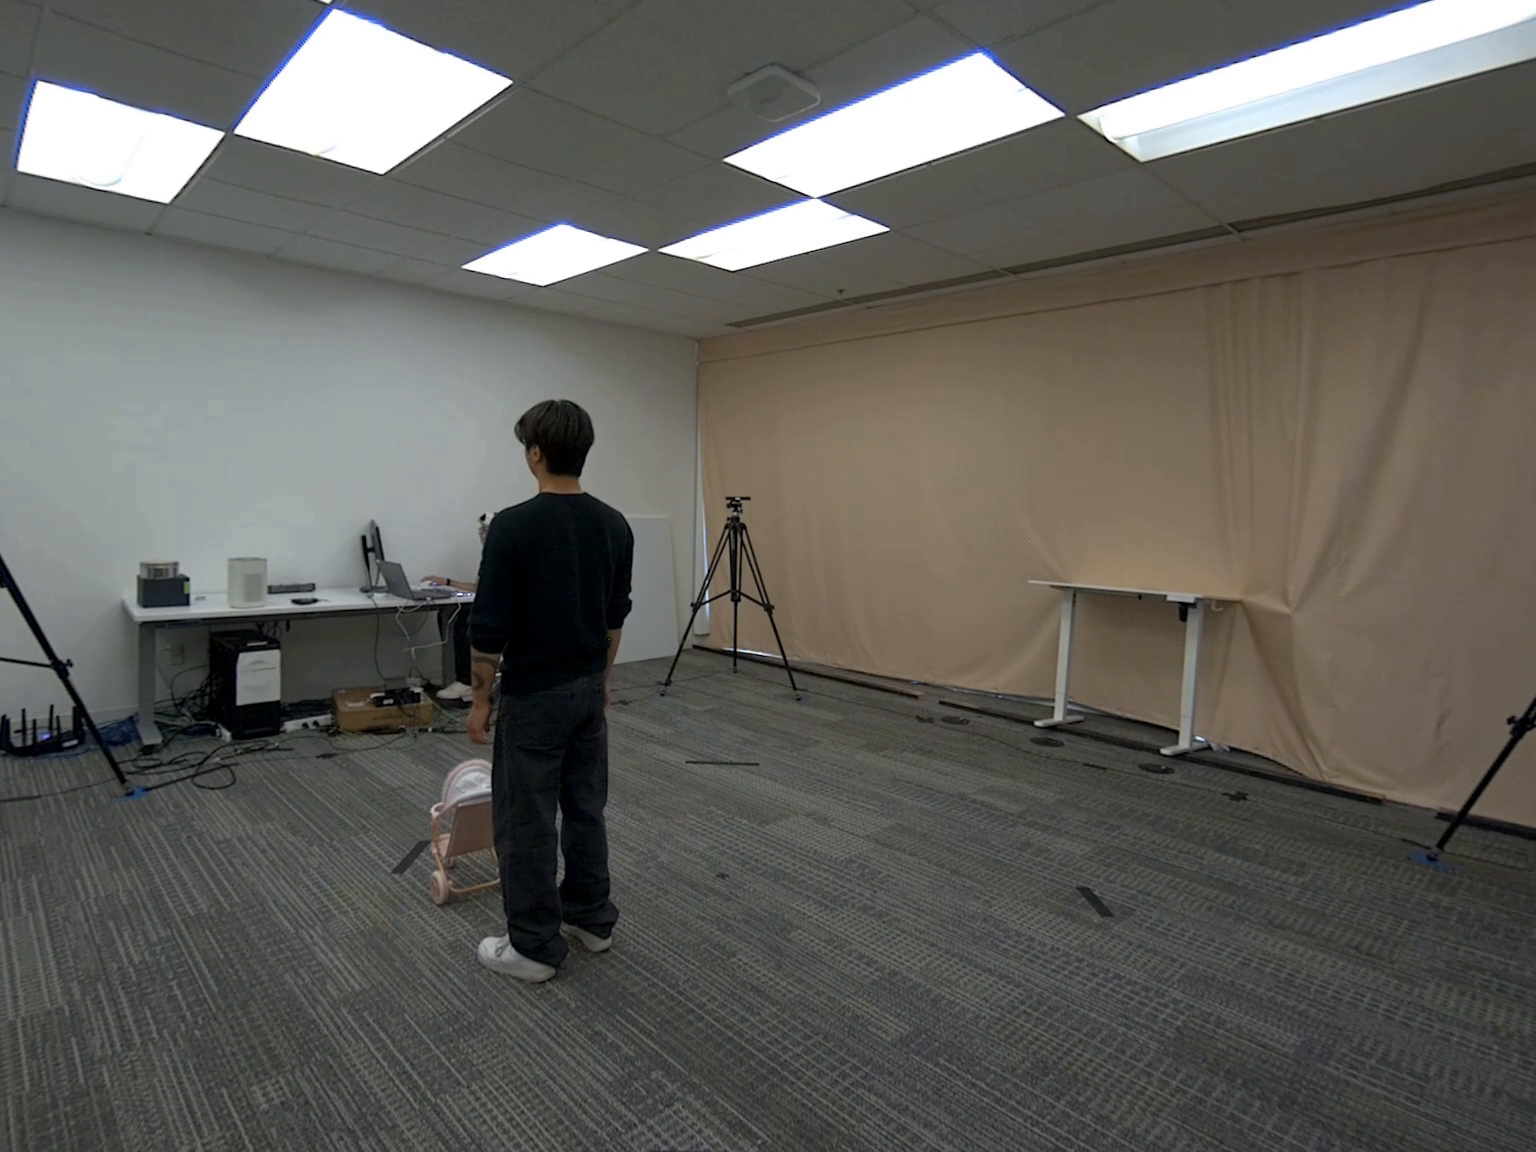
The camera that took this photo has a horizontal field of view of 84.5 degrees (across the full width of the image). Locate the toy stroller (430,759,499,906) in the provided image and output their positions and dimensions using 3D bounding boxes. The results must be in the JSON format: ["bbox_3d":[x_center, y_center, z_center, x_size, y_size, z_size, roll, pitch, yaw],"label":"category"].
[{"bbox_3d":[-1.055,0.879,2.959,0.275,0.529,0.352,-1,23,-33],"label":"toy stroller"}]
